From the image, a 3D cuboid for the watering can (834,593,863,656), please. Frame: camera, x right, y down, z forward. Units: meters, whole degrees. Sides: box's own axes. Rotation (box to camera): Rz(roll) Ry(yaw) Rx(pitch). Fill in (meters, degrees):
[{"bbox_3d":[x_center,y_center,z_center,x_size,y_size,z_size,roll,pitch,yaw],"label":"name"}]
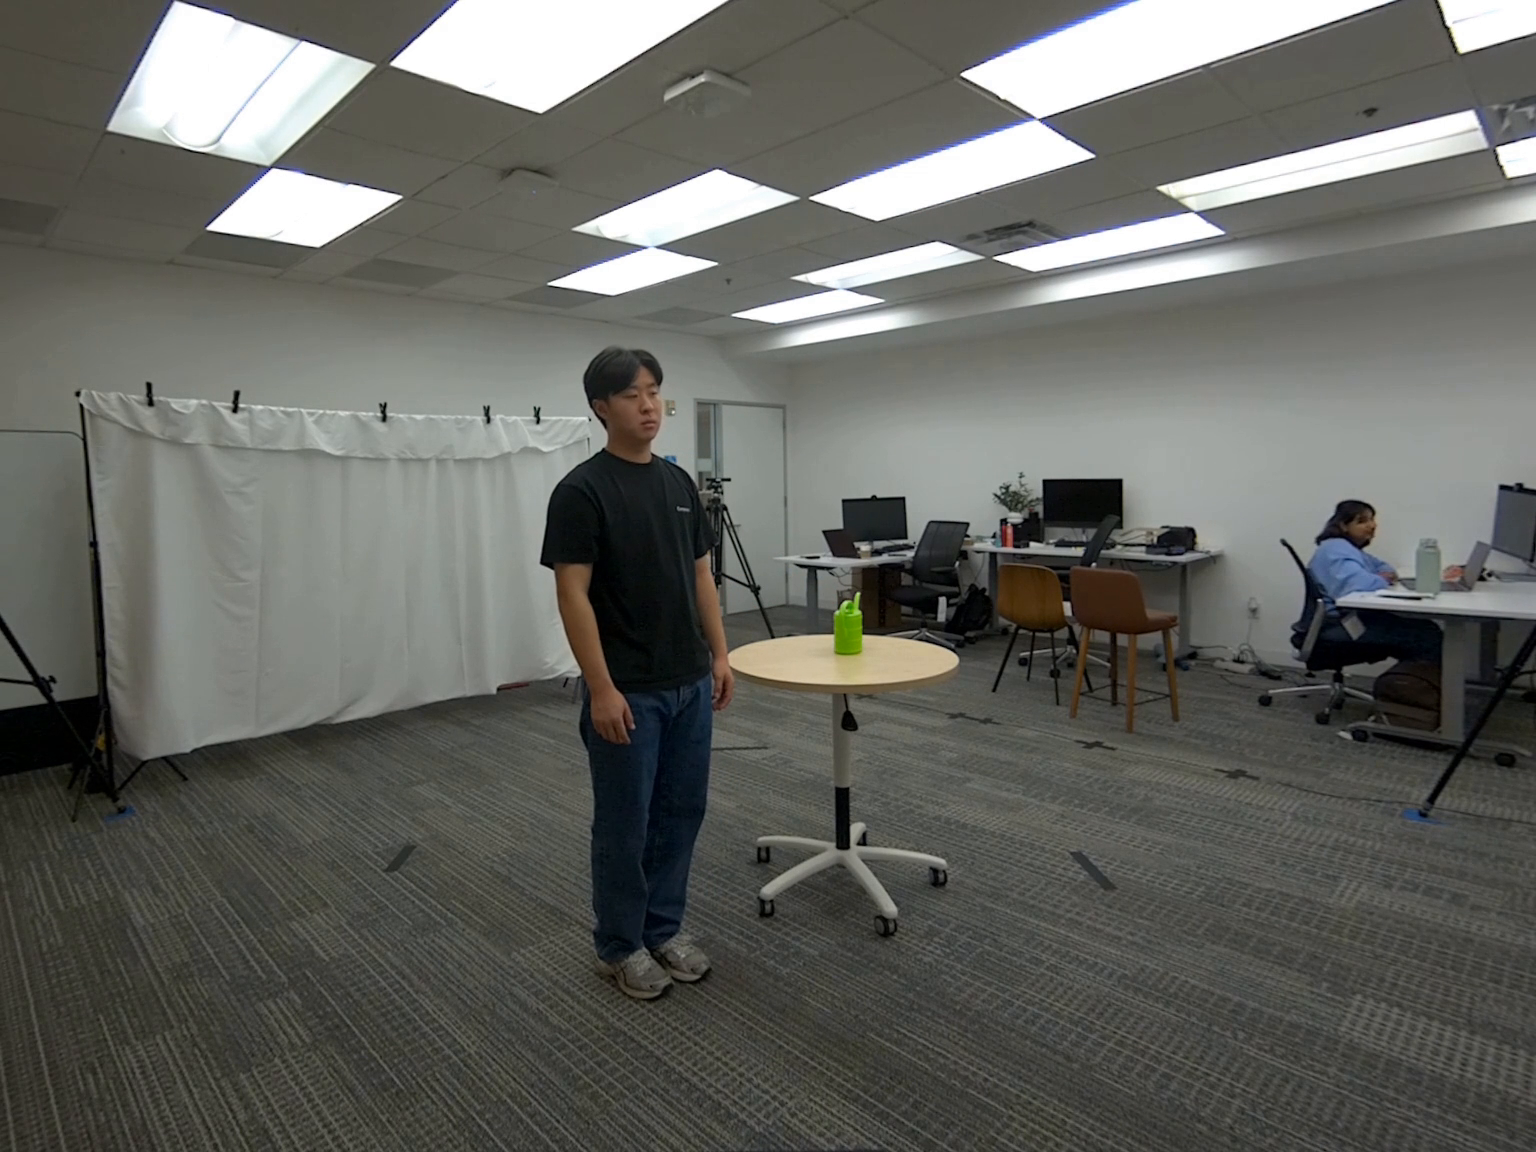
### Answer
[{"bbox_3d":[0.296,0.165,2.966,0.100,0.175,0.273,3,11,28],"label":"watering can"}]
